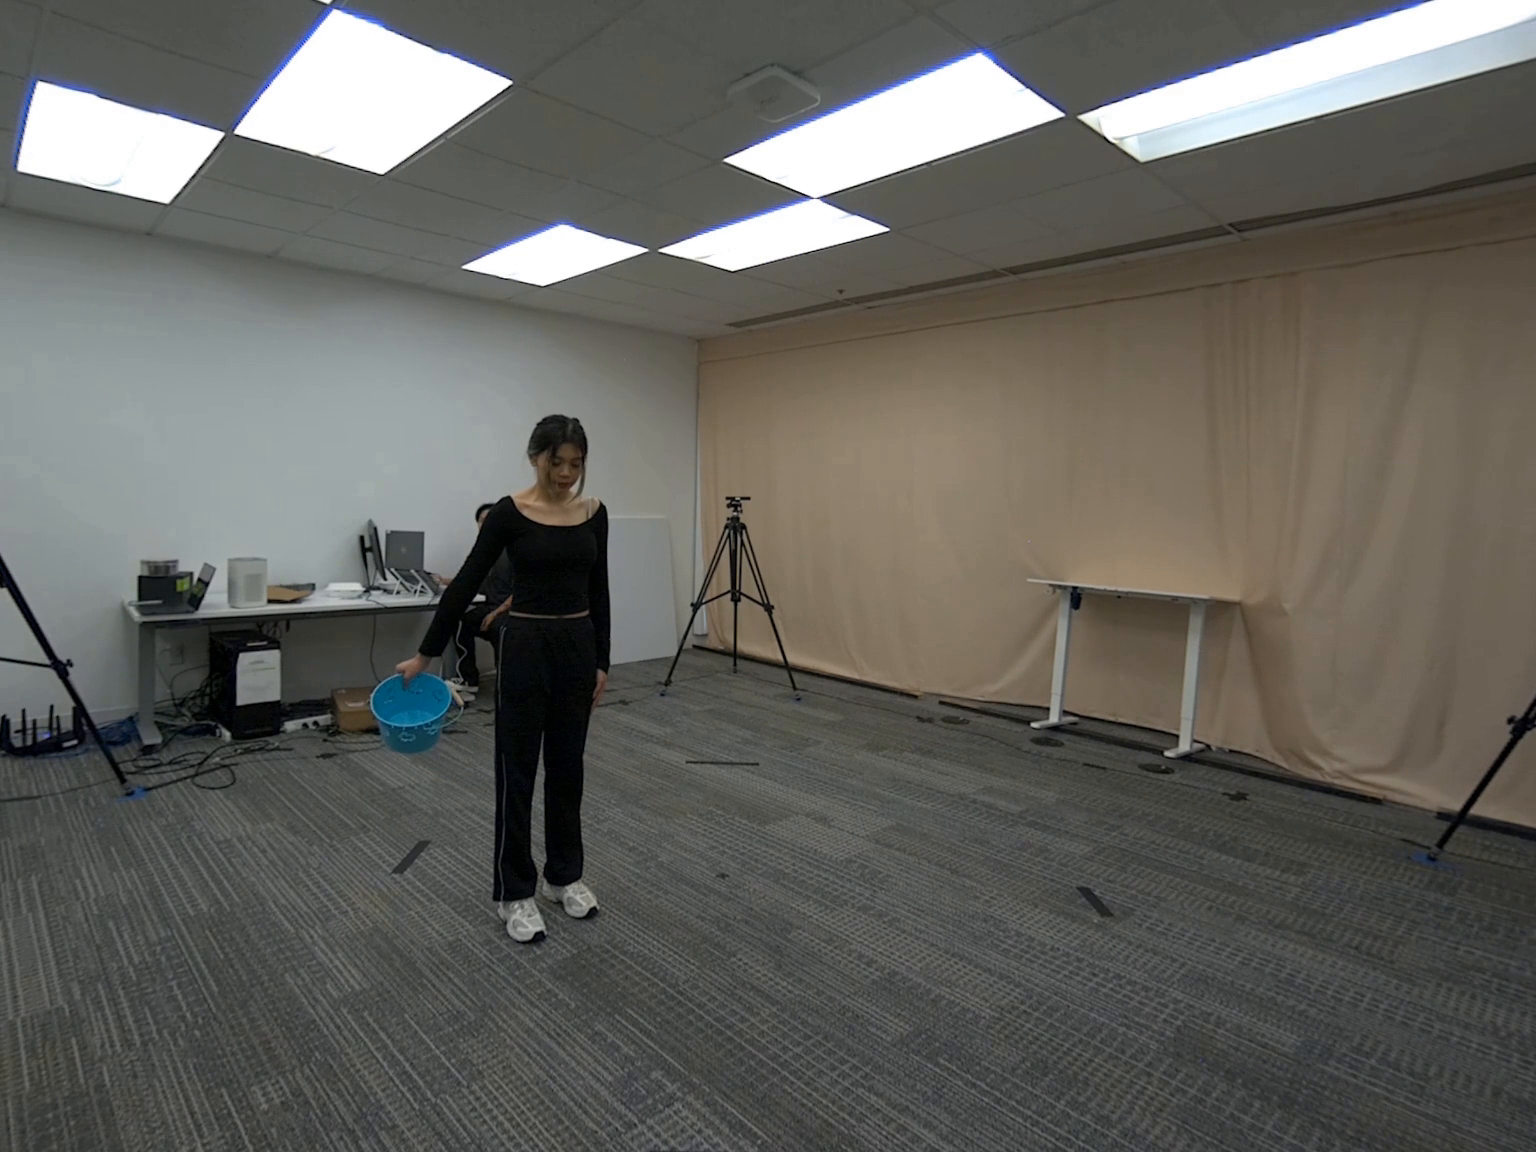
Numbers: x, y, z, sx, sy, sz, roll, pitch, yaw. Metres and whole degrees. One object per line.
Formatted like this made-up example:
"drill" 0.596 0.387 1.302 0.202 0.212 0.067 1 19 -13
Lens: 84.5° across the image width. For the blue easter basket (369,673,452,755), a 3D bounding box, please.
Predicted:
"blue easter basket" -1.117 0.443 2.621 0.242 0.153 0.249 7 34 -6
